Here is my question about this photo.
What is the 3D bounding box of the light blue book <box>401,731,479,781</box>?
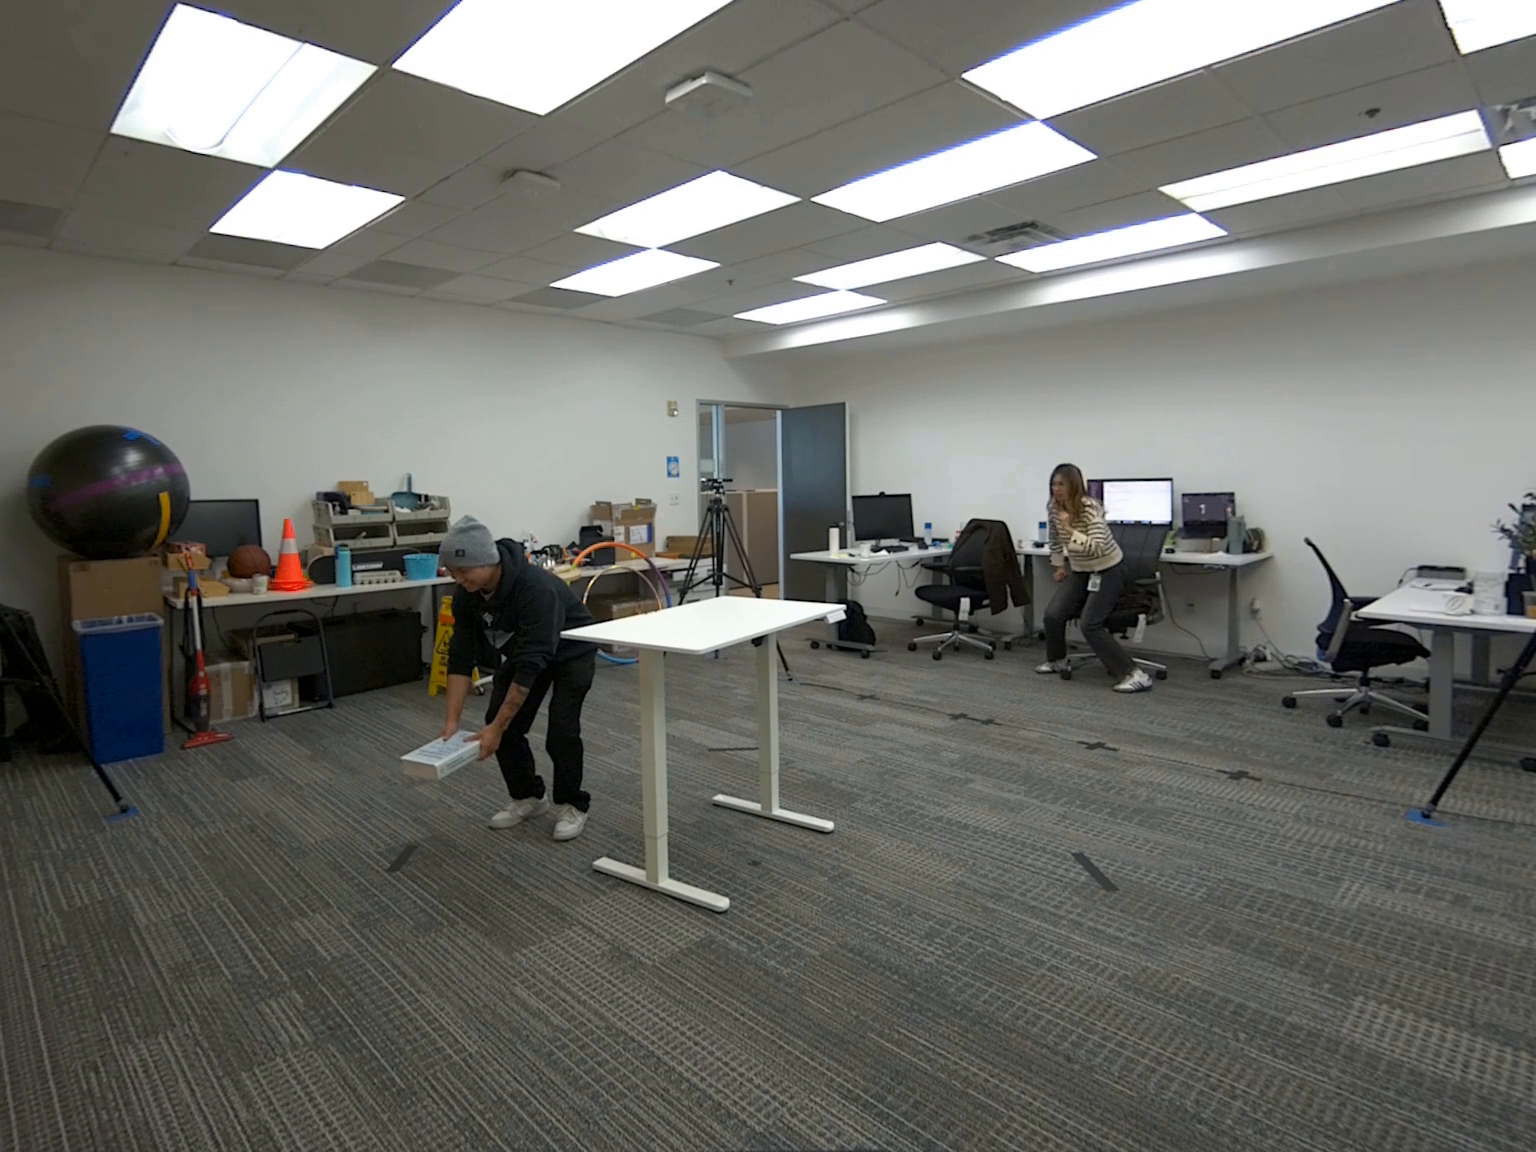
[{"bbox_3d":[-1.161,0.643,3.081,0.196,0.058,0.257,1,13,28],"label":"light blue book"}]
